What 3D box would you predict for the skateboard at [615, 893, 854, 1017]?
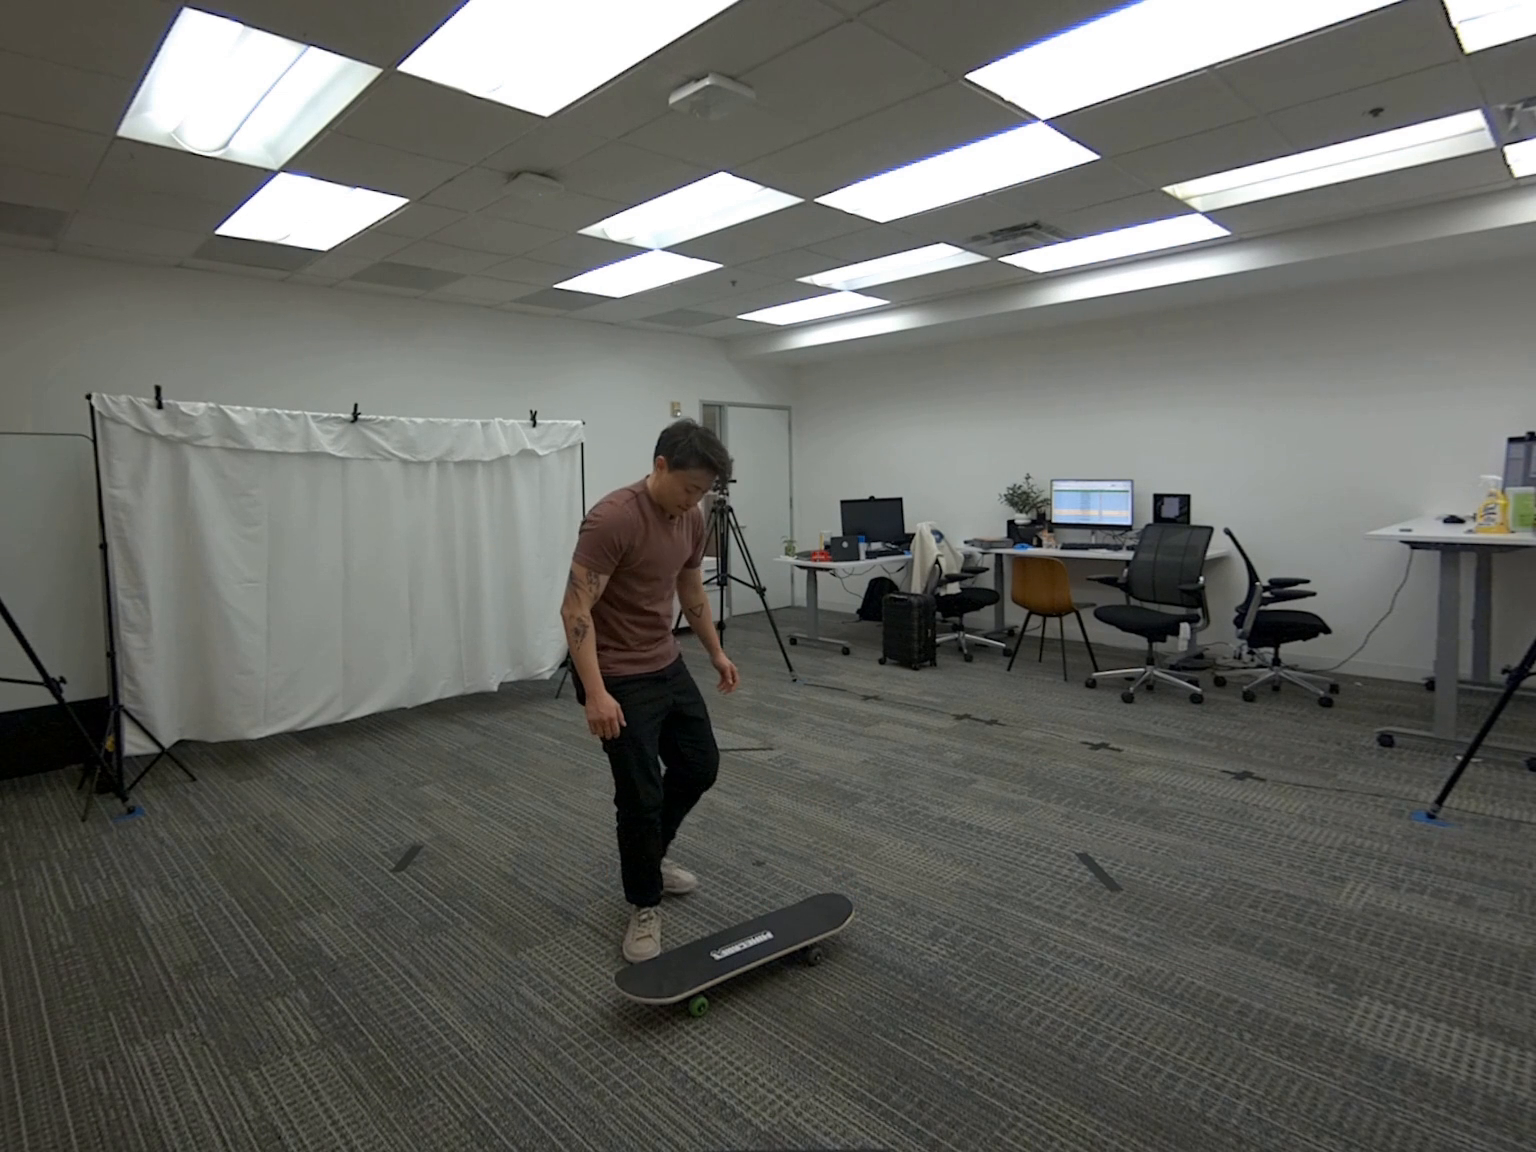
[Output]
[{"bbox_3d":[-0.075,1.069,2.413,0.766,0.109,0.199,-6,9,-34],"label":"skateboard"}]
